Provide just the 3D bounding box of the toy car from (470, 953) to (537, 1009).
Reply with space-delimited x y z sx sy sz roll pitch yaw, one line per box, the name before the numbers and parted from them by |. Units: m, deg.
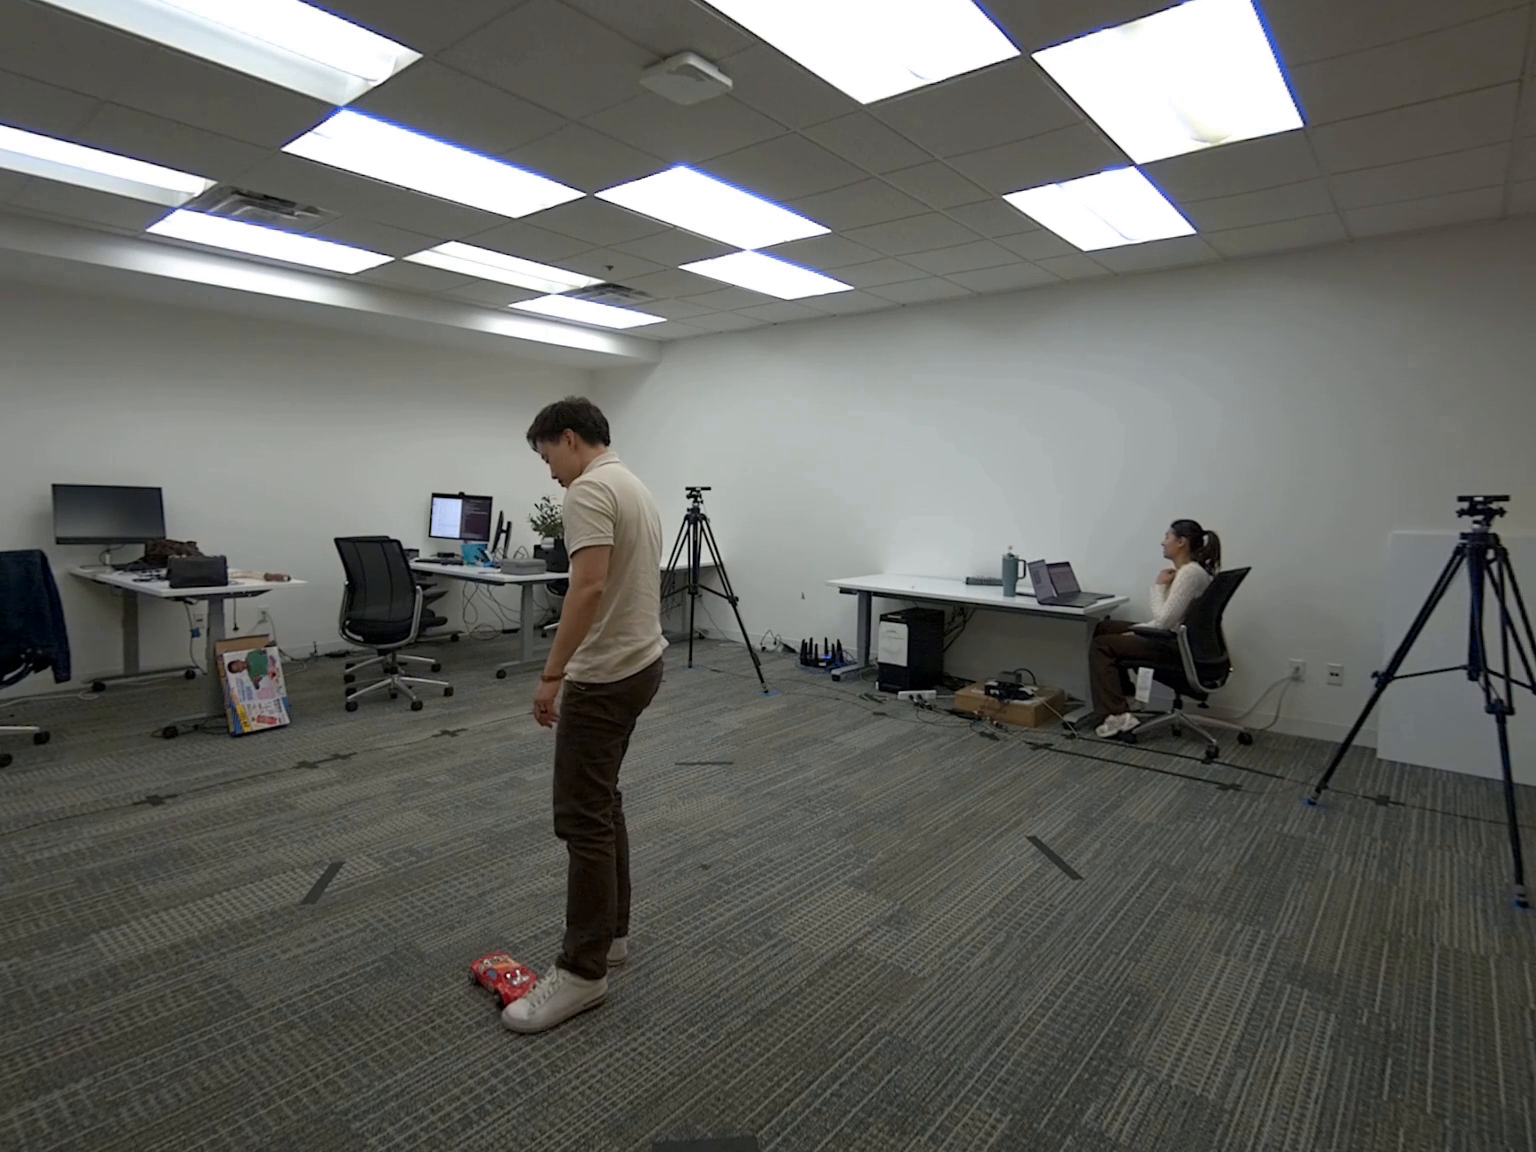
toy car | -0.725 1.105 2.333 0.126 0.083 0.261 -4 -3 -43
